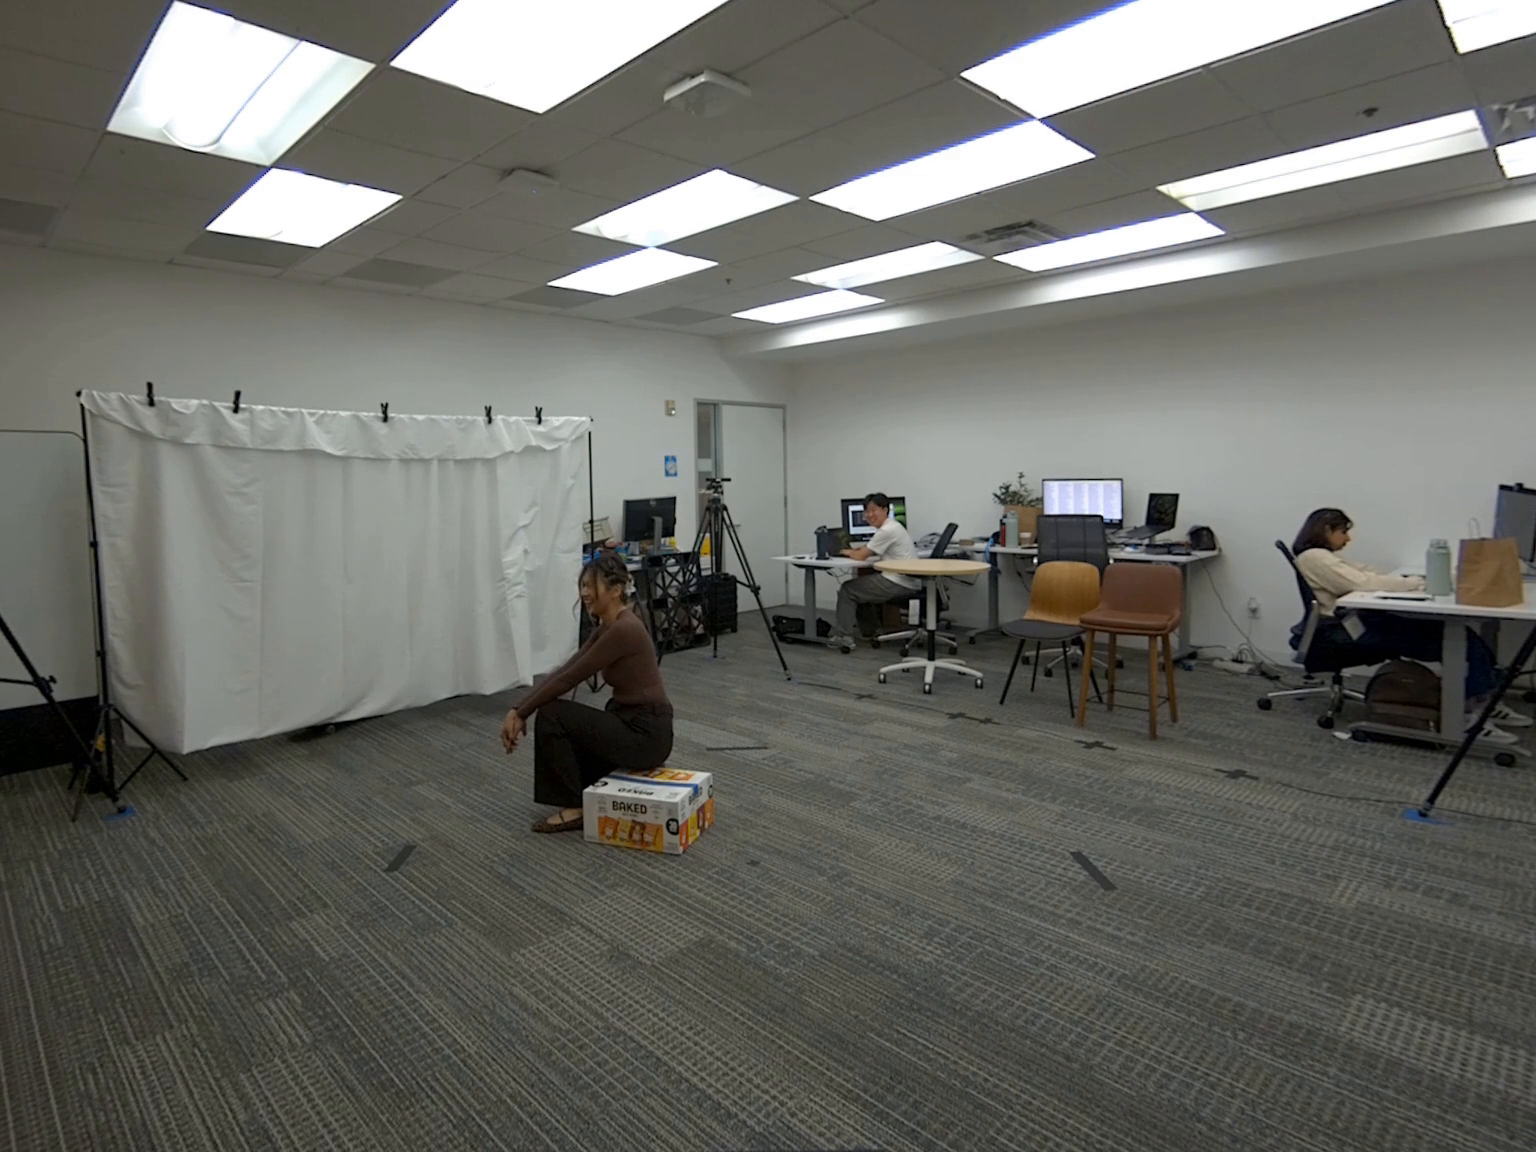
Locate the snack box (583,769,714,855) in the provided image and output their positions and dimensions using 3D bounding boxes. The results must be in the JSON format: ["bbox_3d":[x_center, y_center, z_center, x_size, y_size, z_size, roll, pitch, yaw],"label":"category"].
[{"bbox_3d":[-0.470,0.916,3.390,0.413,0.205,0.335,1,5,20],"label":"snack box"}]
